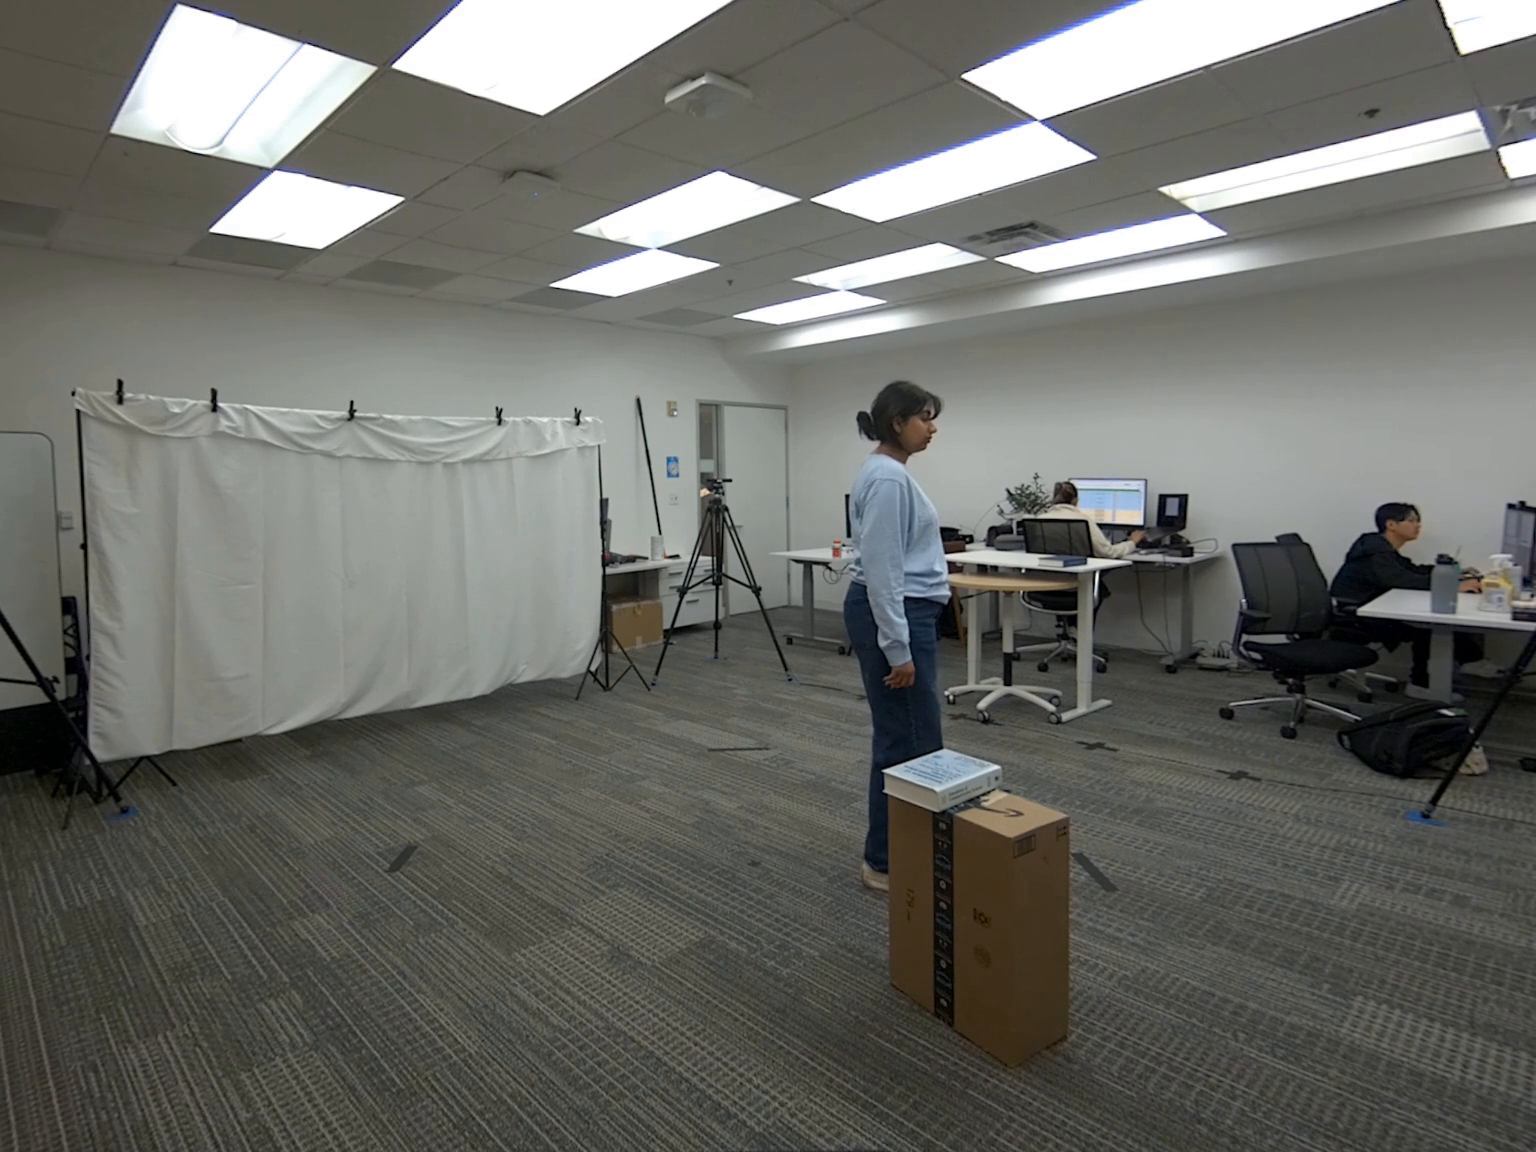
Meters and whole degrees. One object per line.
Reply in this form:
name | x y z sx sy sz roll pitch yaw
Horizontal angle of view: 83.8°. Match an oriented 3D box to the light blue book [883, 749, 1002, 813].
light blue book | 0.455 0.539 2.272 0.254 0.059 0.197 -8 9 -38
